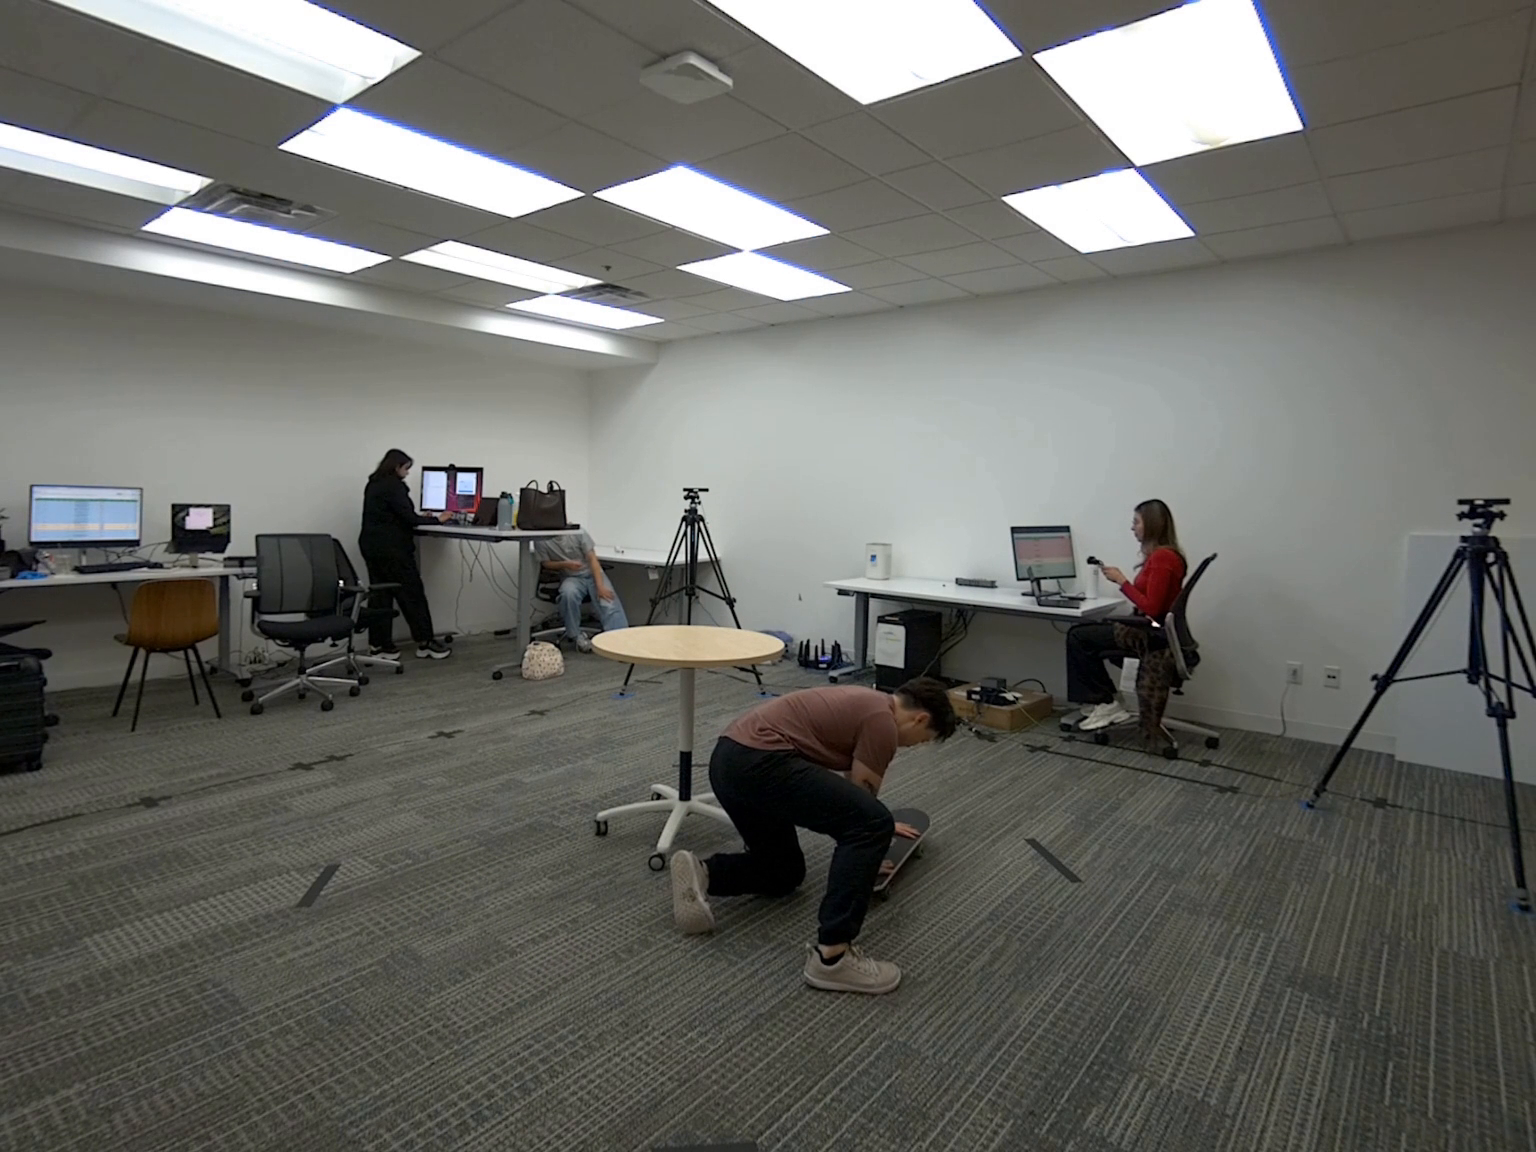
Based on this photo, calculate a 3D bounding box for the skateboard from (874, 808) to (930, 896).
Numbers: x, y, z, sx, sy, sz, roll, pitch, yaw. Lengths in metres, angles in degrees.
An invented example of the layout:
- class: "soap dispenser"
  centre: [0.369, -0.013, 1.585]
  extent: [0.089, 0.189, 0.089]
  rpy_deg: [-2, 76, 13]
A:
- class: "skateboard"
  centre: [0.408, 1.024, 3.126]
  extent: [0.199, 0.110, 0.767]
  rpy_deg: [4, 7, 27]
